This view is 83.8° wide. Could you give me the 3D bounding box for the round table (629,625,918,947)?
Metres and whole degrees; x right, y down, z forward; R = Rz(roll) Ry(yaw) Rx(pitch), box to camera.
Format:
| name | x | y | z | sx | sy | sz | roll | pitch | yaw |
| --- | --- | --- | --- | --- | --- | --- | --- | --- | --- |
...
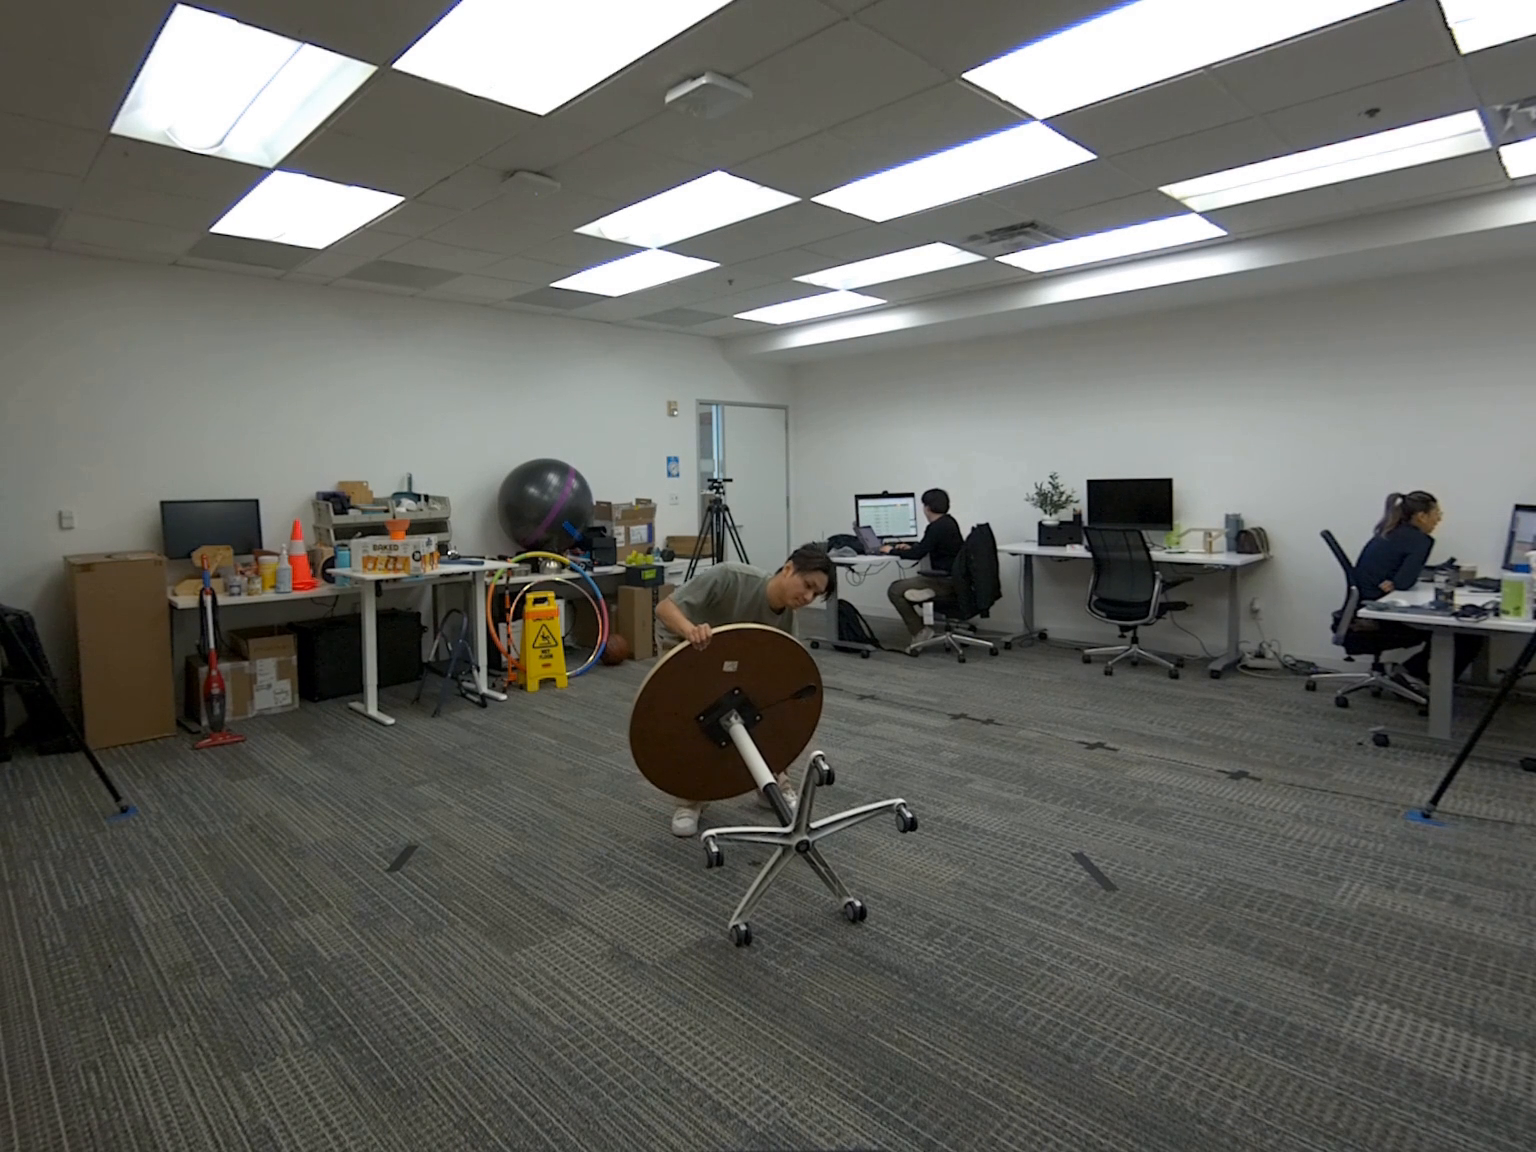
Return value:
| name | x | y | z | sx | sy | sz | roll | pitch | yaw |
| --- | --- | --- | --- | --- | --- | --- | --- | --- | --- |
| round table | -0.013 | 0.684 | 2.855 | 0.771 | 0.772 | 0.814 | -3 | 24 | -20 |
